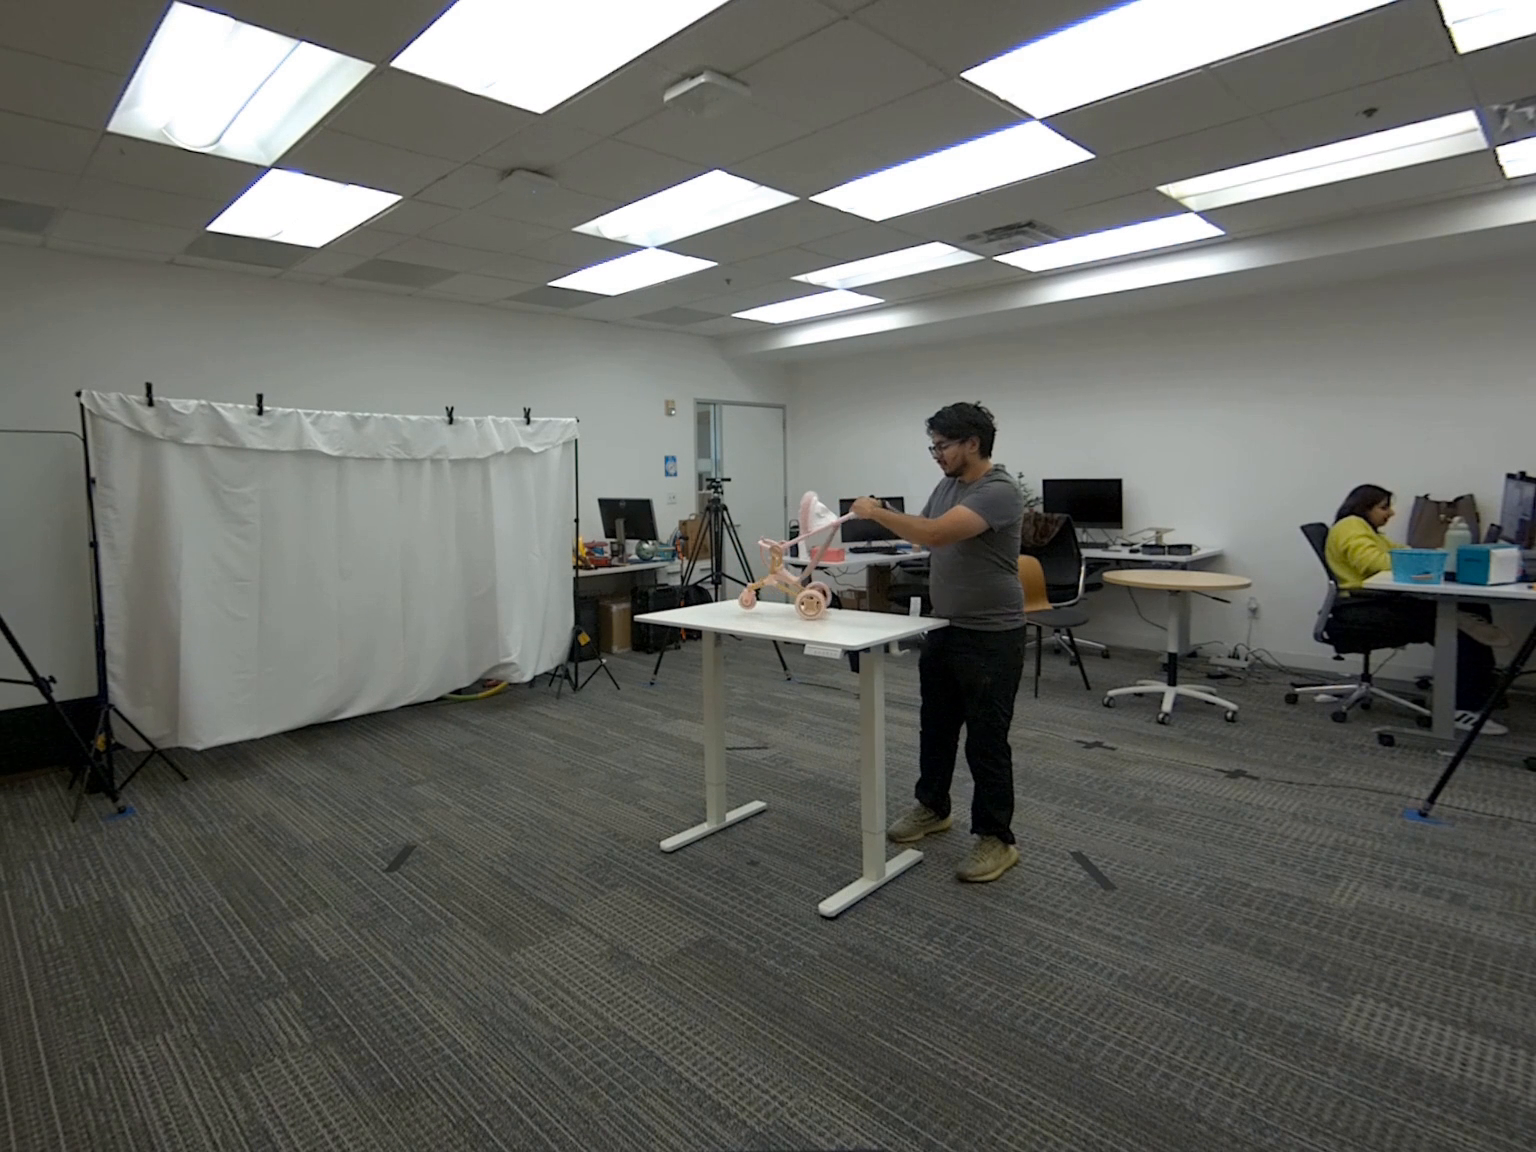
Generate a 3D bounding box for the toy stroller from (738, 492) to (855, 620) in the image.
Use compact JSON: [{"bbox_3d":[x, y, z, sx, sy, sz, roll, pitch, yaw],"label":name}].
[{"bbox_3d":[0.125,-0.080,3.187,0.348,0.532,0.278,21,9,14],"label":"toy stroller"}]
